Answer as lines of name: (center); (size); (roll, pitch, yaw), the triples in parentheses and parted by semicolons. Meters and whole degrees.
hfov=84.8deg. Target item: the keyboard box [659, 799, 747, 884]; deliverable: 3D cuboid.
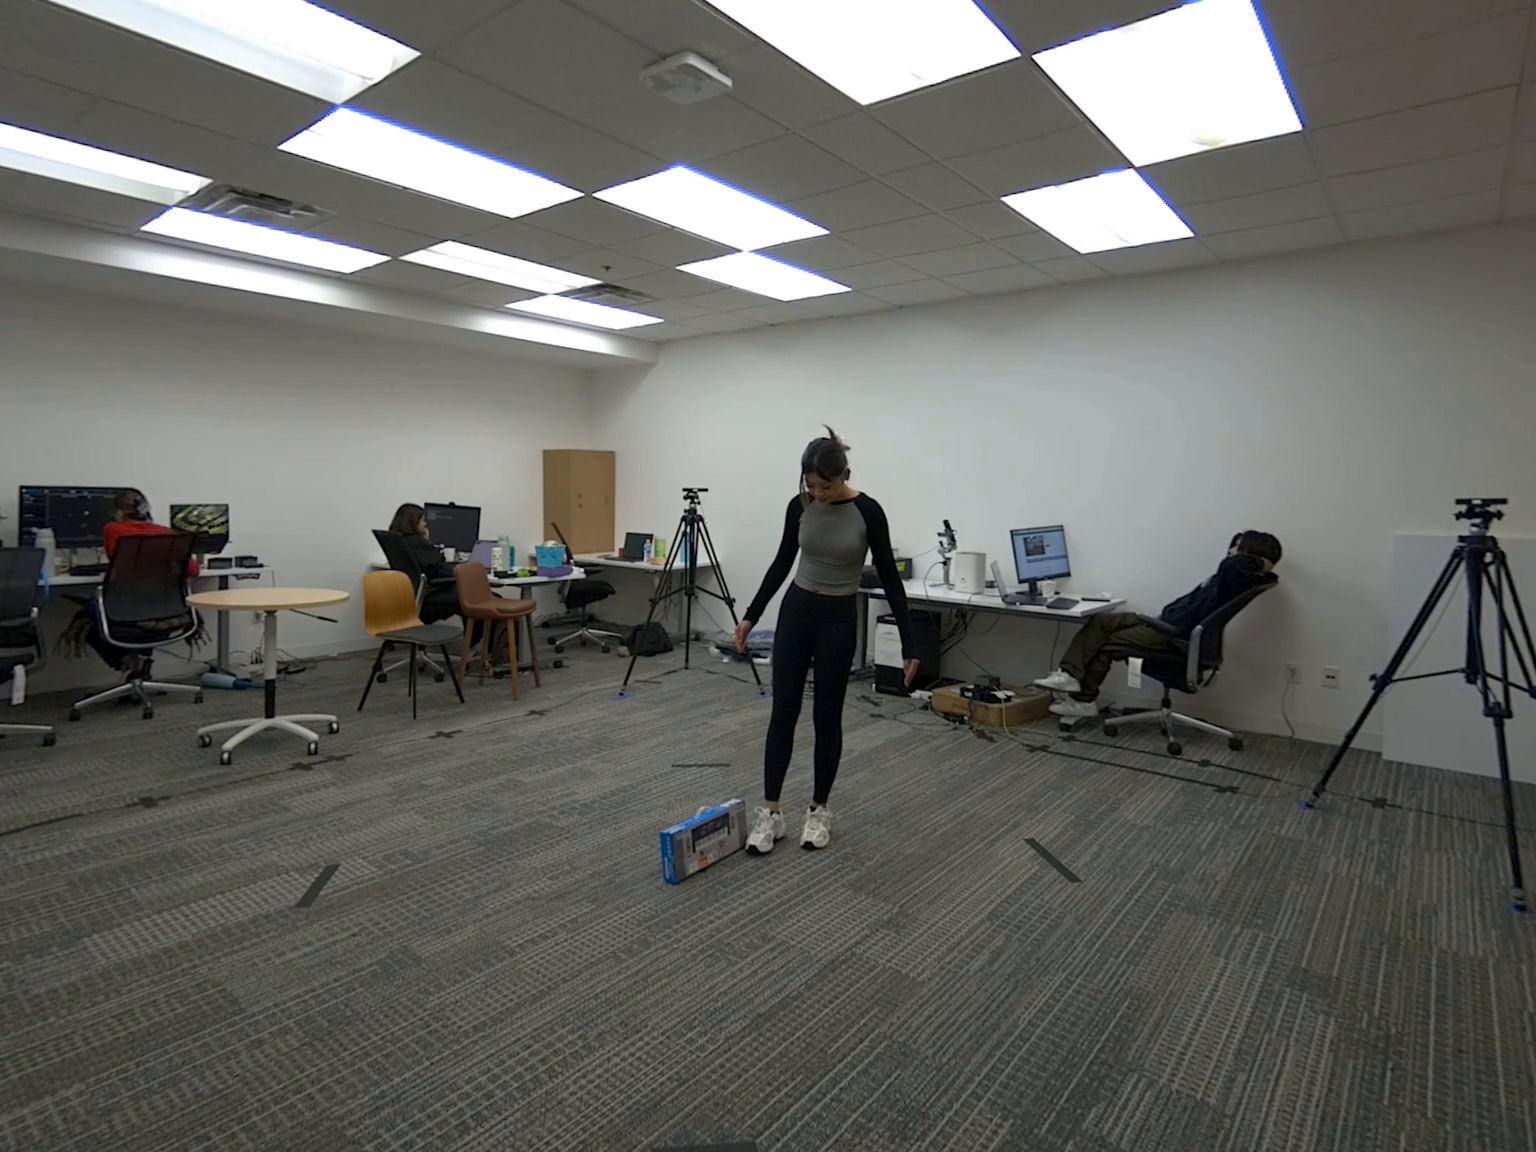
keyboard box: (-0.239, 0.977, 3.166); (0.061, 0.176, 0.424); (-6, 0, 37)
